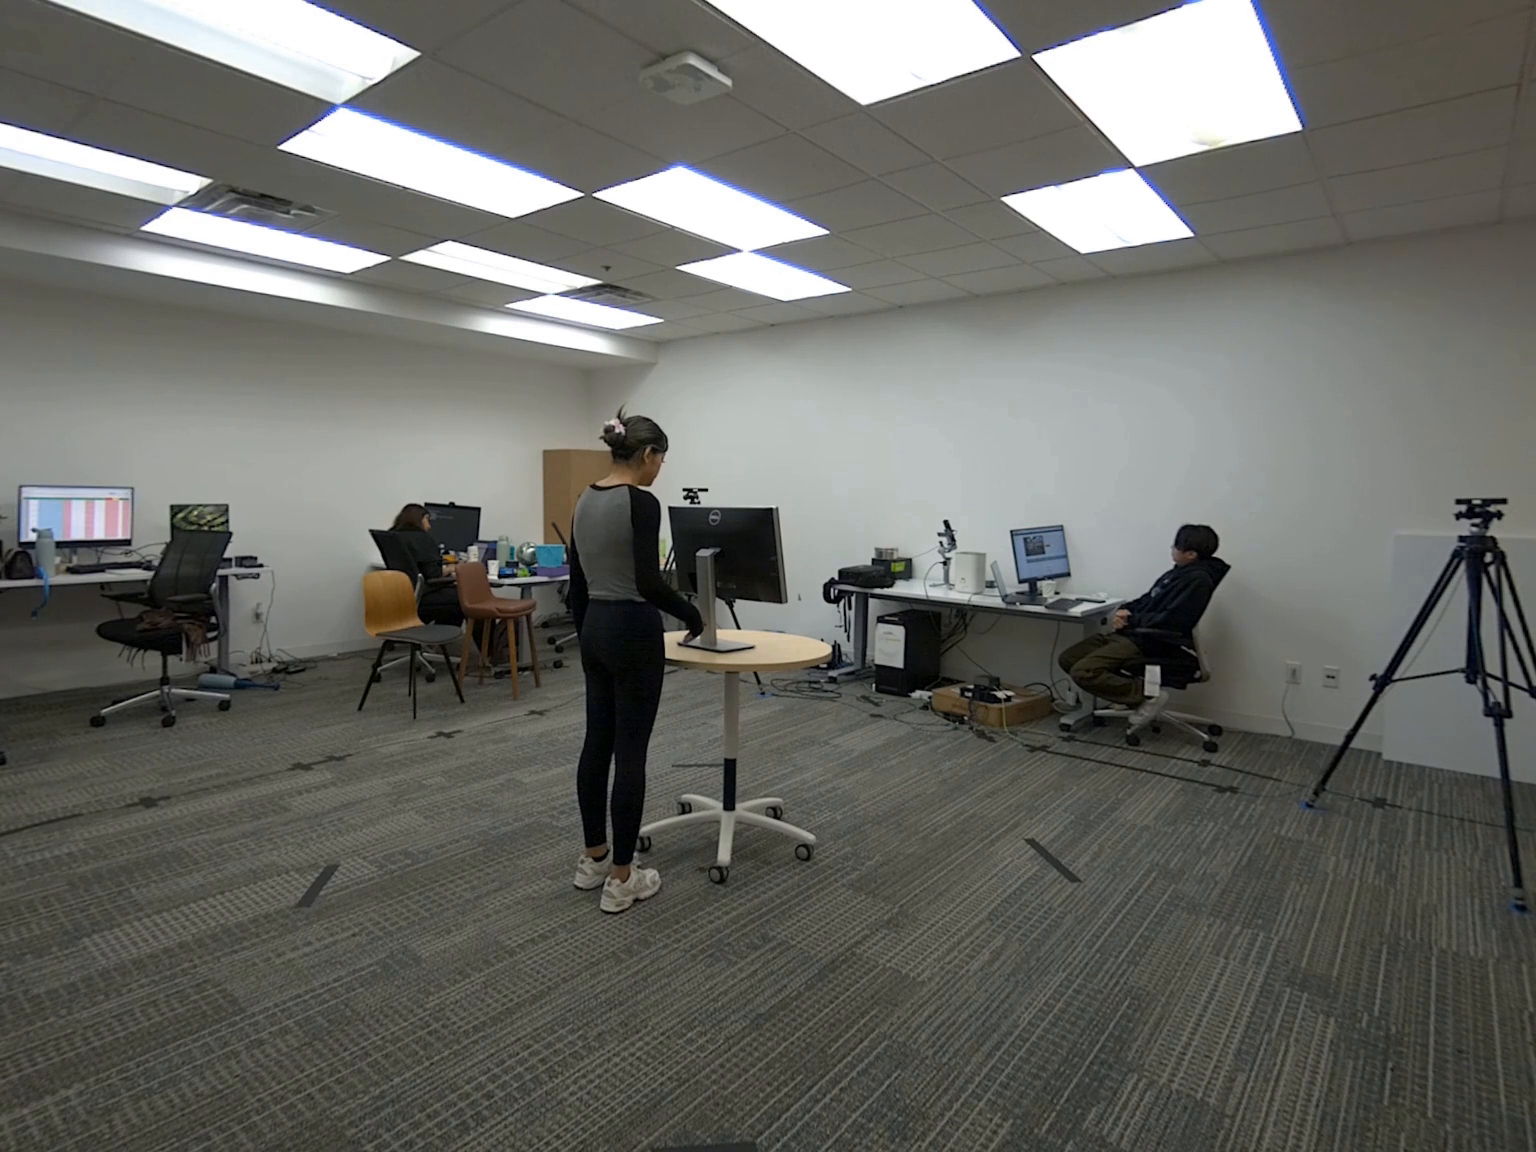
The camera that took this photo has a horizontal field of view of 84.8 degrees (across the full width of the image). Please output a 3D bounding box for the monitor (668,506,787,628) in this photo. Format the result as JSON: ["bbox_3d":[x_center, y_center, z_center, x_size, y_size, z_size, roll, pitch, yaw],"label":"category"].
[{"bbox_3d":[-0.203,0.001,3.251,0.557,0.522,0.181,4,2,40],"label":"monitor"}]
